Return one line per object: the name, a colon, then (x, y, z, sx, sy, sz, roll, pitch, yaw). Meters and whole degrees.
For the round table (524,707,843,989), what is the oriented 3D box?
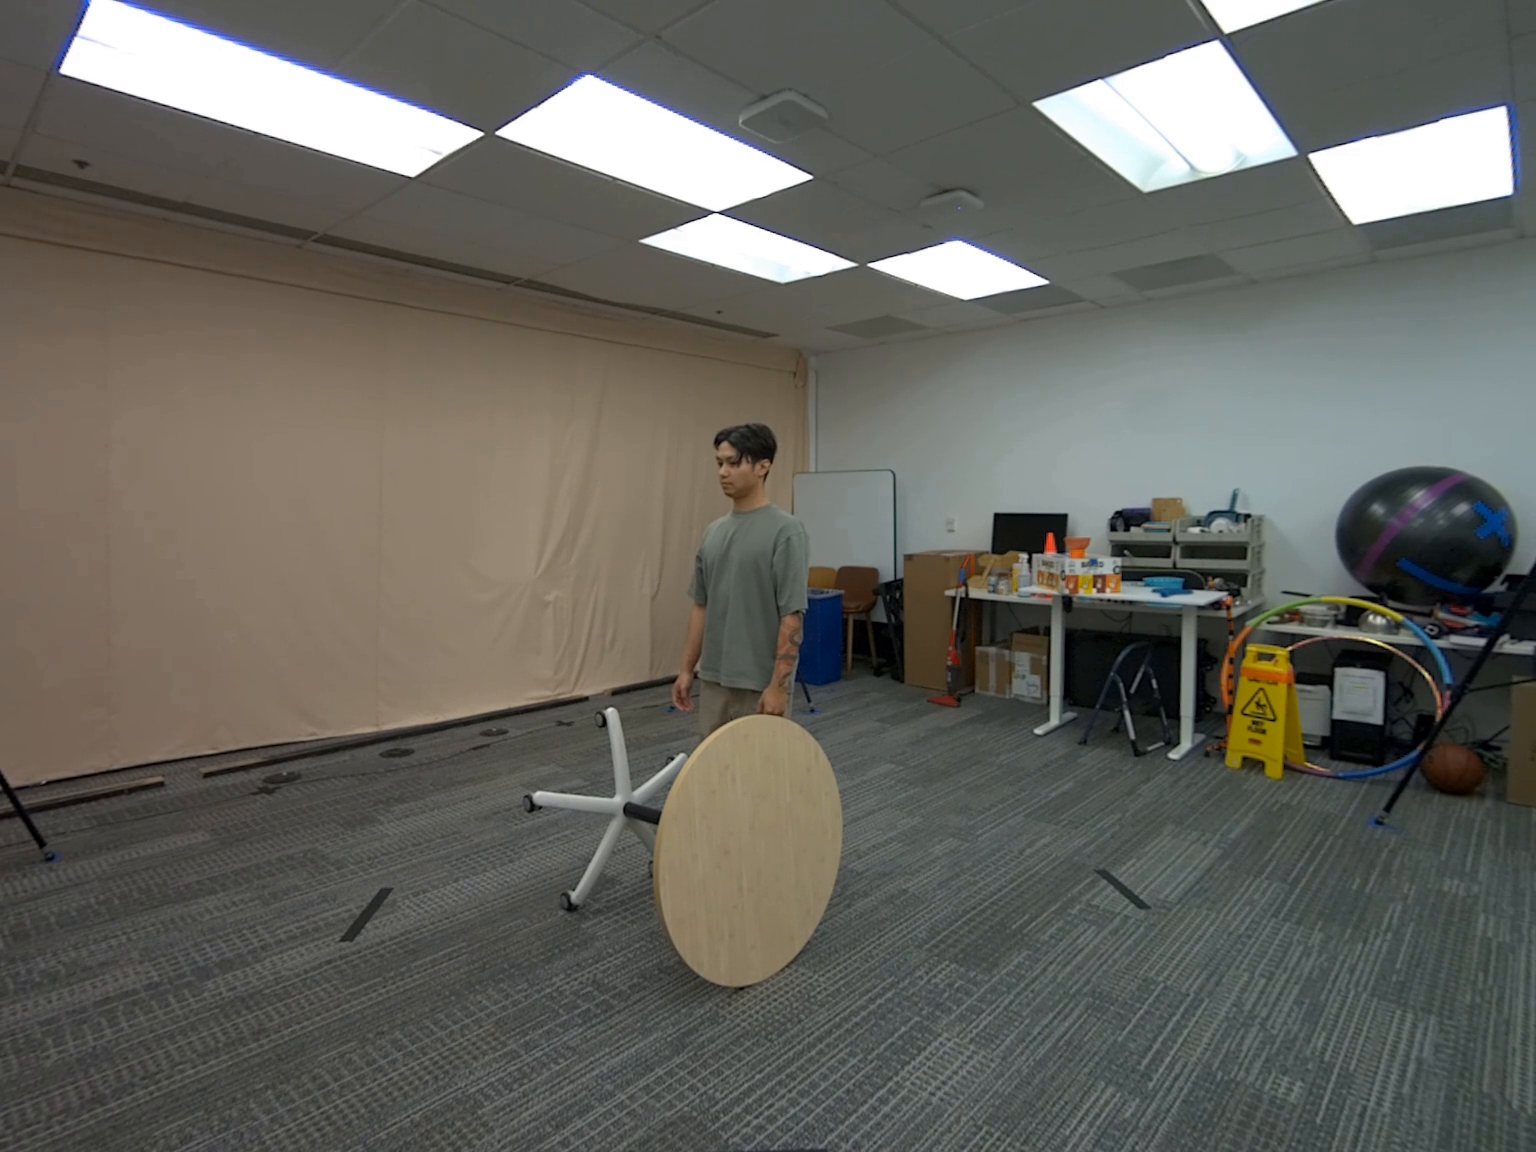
round table: (-0.314, 0.821, 2.780, 0.761, 0.786, 0.810, -4, -1, -45)
